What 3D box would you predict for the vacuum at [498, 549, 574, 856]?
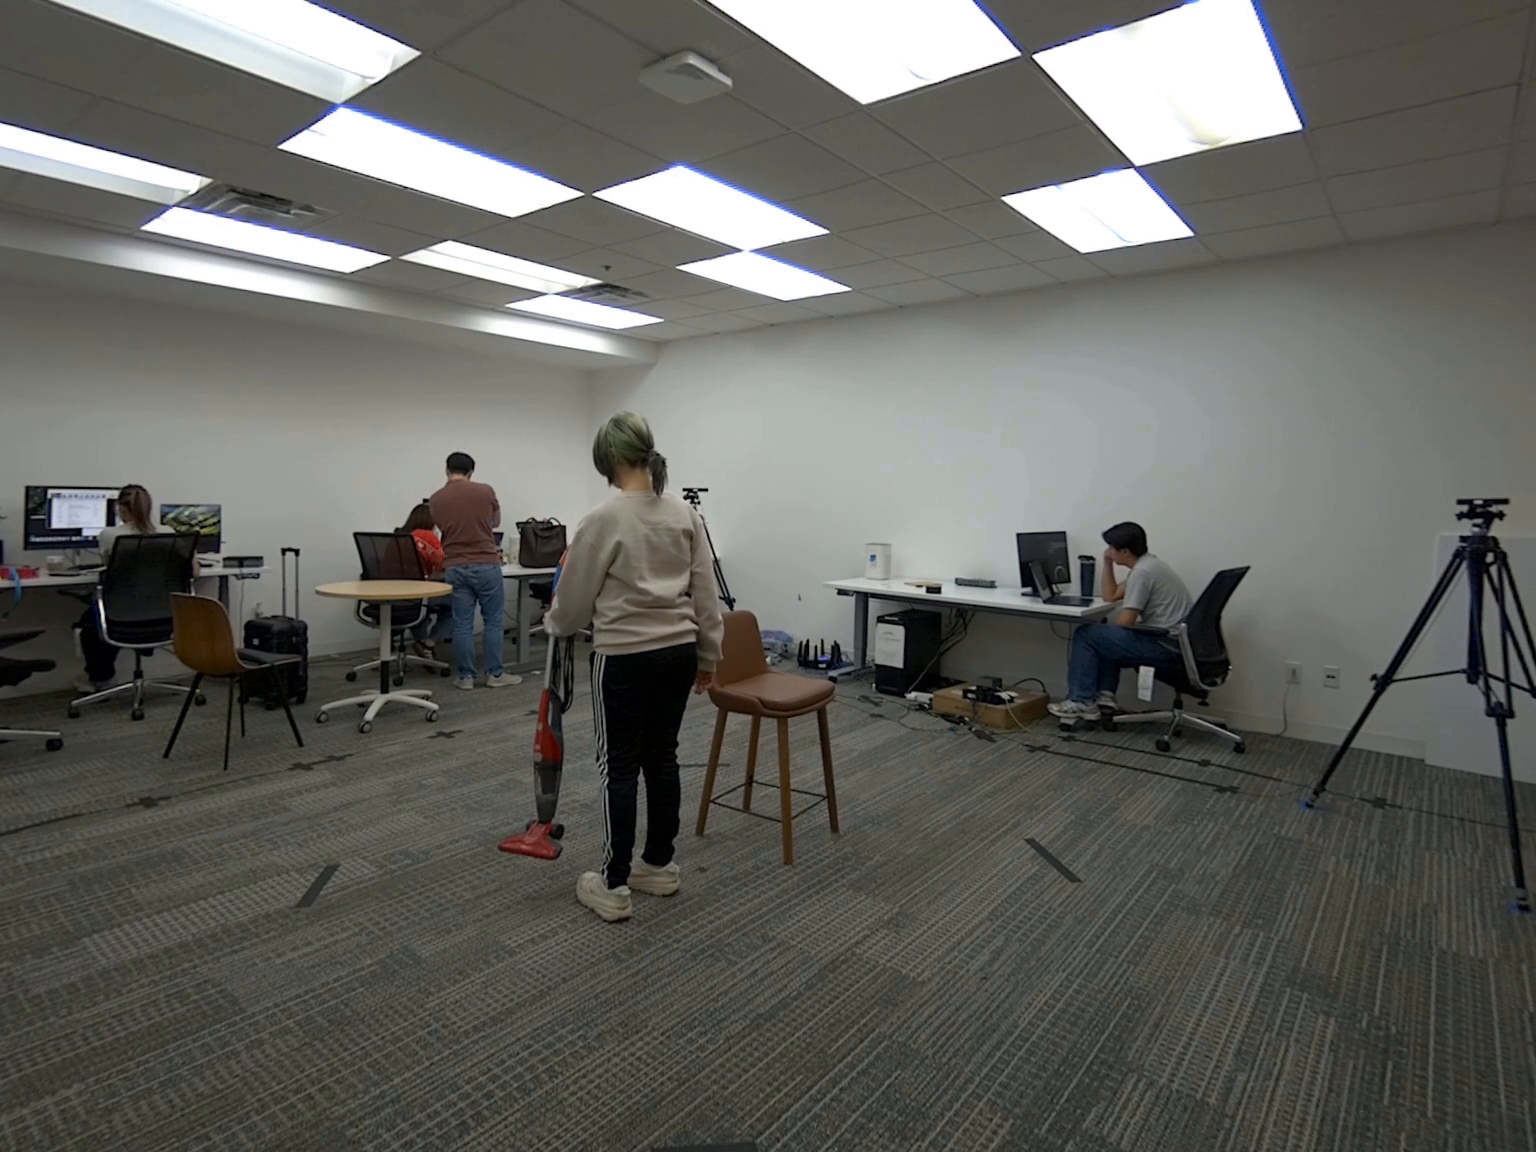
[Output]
[{"bbox_3d":[-0.784,0.408,3.053,0.259,1.061,0.138,-3,-14,30],"label":"vacuum"}]
